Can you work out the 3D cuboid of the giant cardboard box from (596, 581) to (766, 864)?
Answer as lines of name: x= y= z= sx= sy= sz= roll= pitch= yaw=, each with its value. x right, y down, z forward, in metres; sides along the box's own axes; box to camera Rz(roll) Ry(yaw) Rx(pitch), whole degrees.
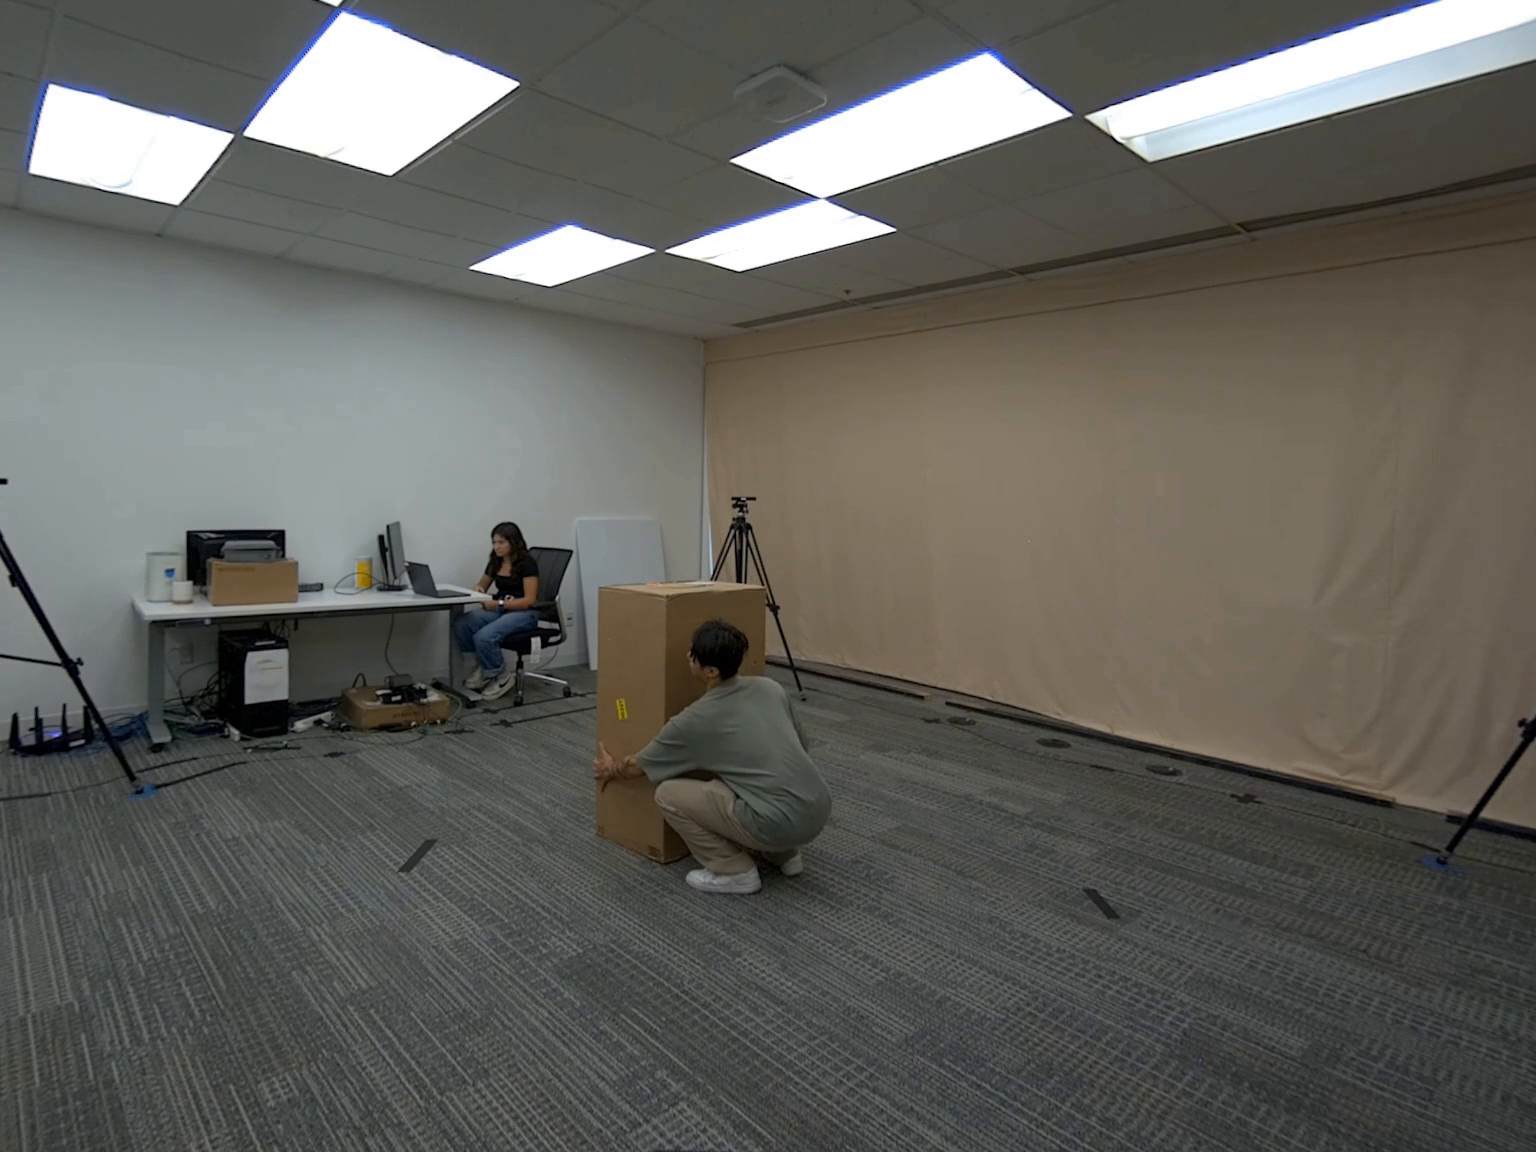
giant cardboard box: x=-0.363 y=0.545 z=3.514 sx=0.437 sy=1.024 sz=0.564 roll=4 pitch=4 yaw=42
